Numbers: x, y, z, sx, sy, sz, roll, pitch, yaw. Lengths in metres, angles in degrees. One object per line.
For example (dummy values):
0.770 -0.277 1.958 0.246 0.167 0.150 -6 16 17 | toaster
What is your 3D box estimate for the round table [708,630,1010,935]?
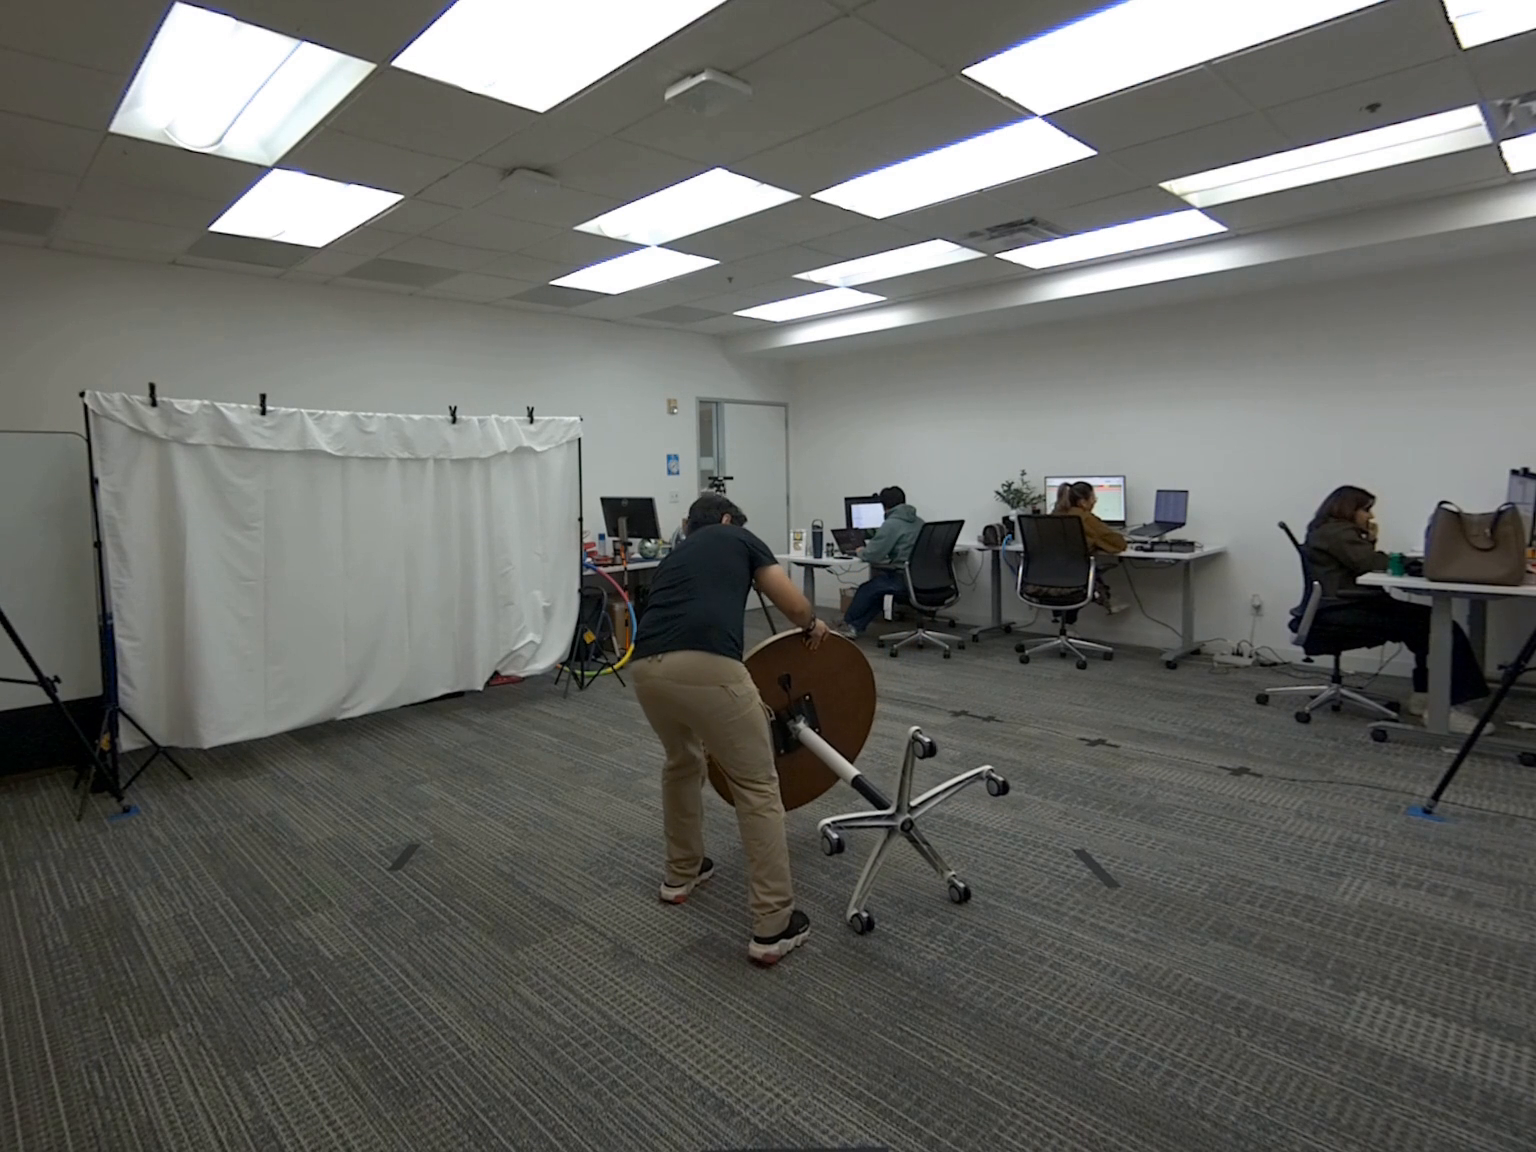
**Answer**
0.290 0.683 2.929 0.767 0.774 0.815 -4 21 -29 | round table
